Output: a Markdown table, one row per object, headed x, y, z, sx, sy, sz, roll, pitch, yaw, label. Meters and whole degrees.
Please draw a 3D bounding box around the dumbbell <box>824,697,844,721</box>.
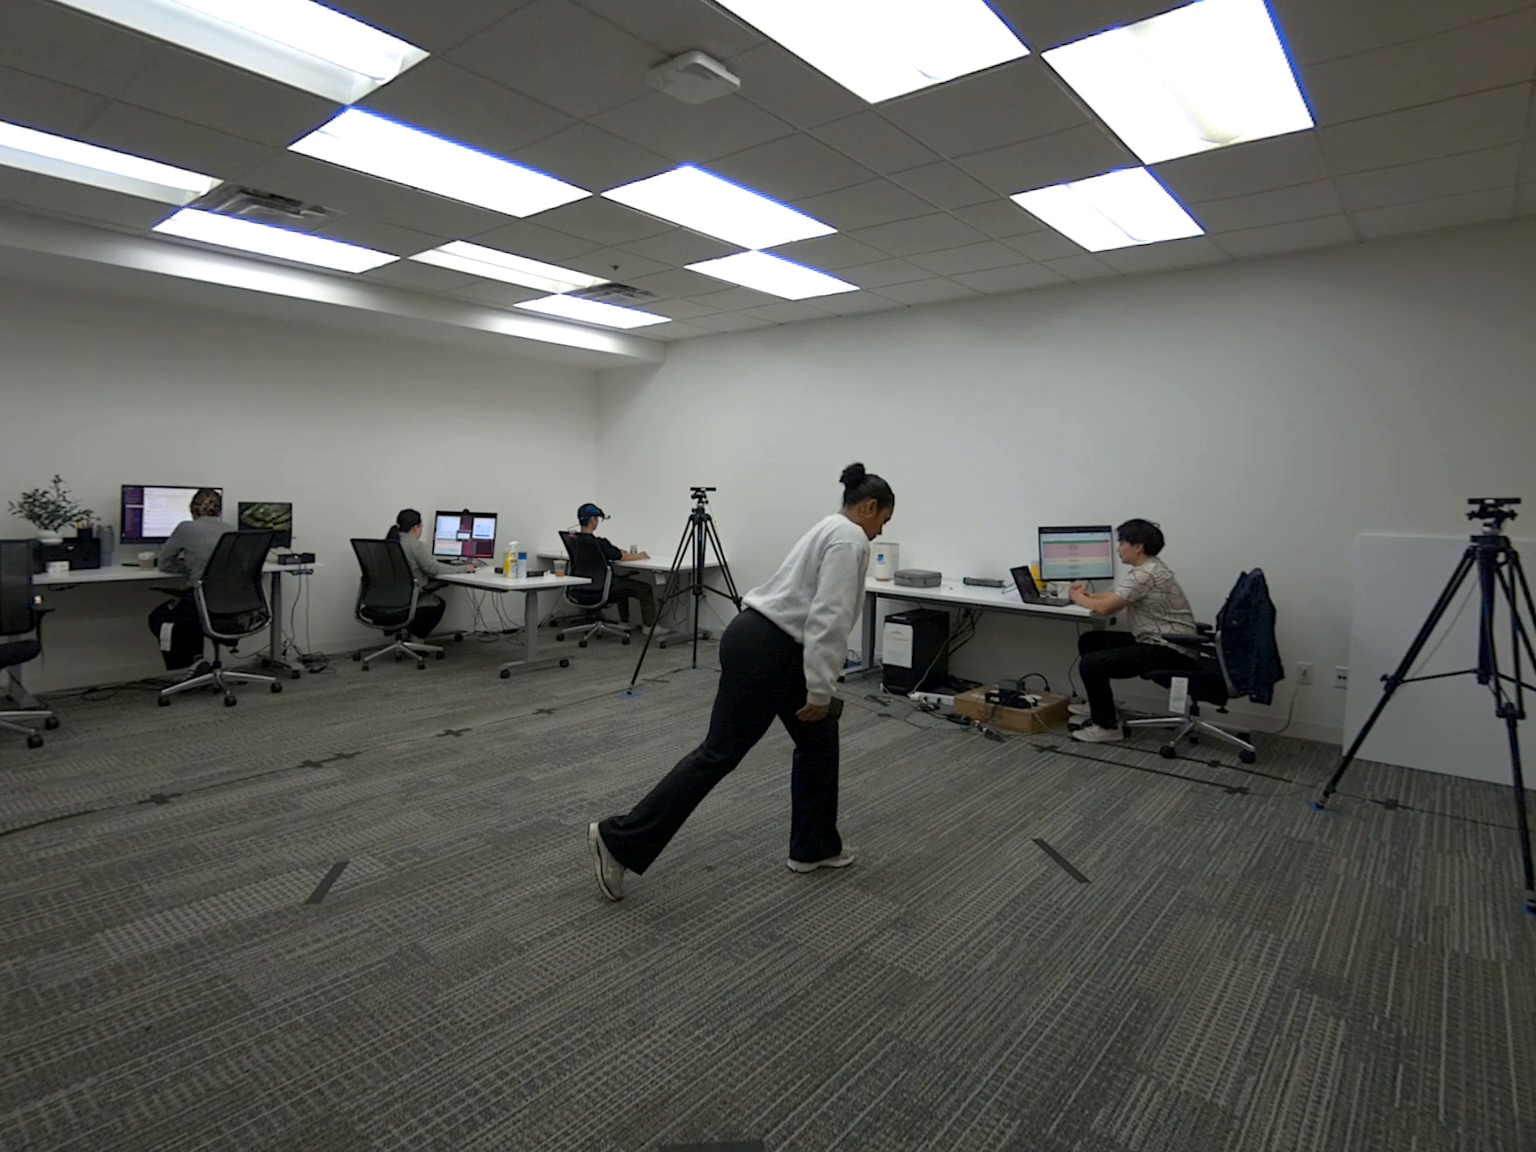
| x | y | z | sx | sy | sz | roll | pitch | yaw | label |
| --- | --- | --- | --- | --- | --- | --- | --- | --- | --- |
| 0.141 | 0.488 | 3.308 | 0.291 | 0.125 | 0.108 | 17 | -25 | -7 | dumbbell |
